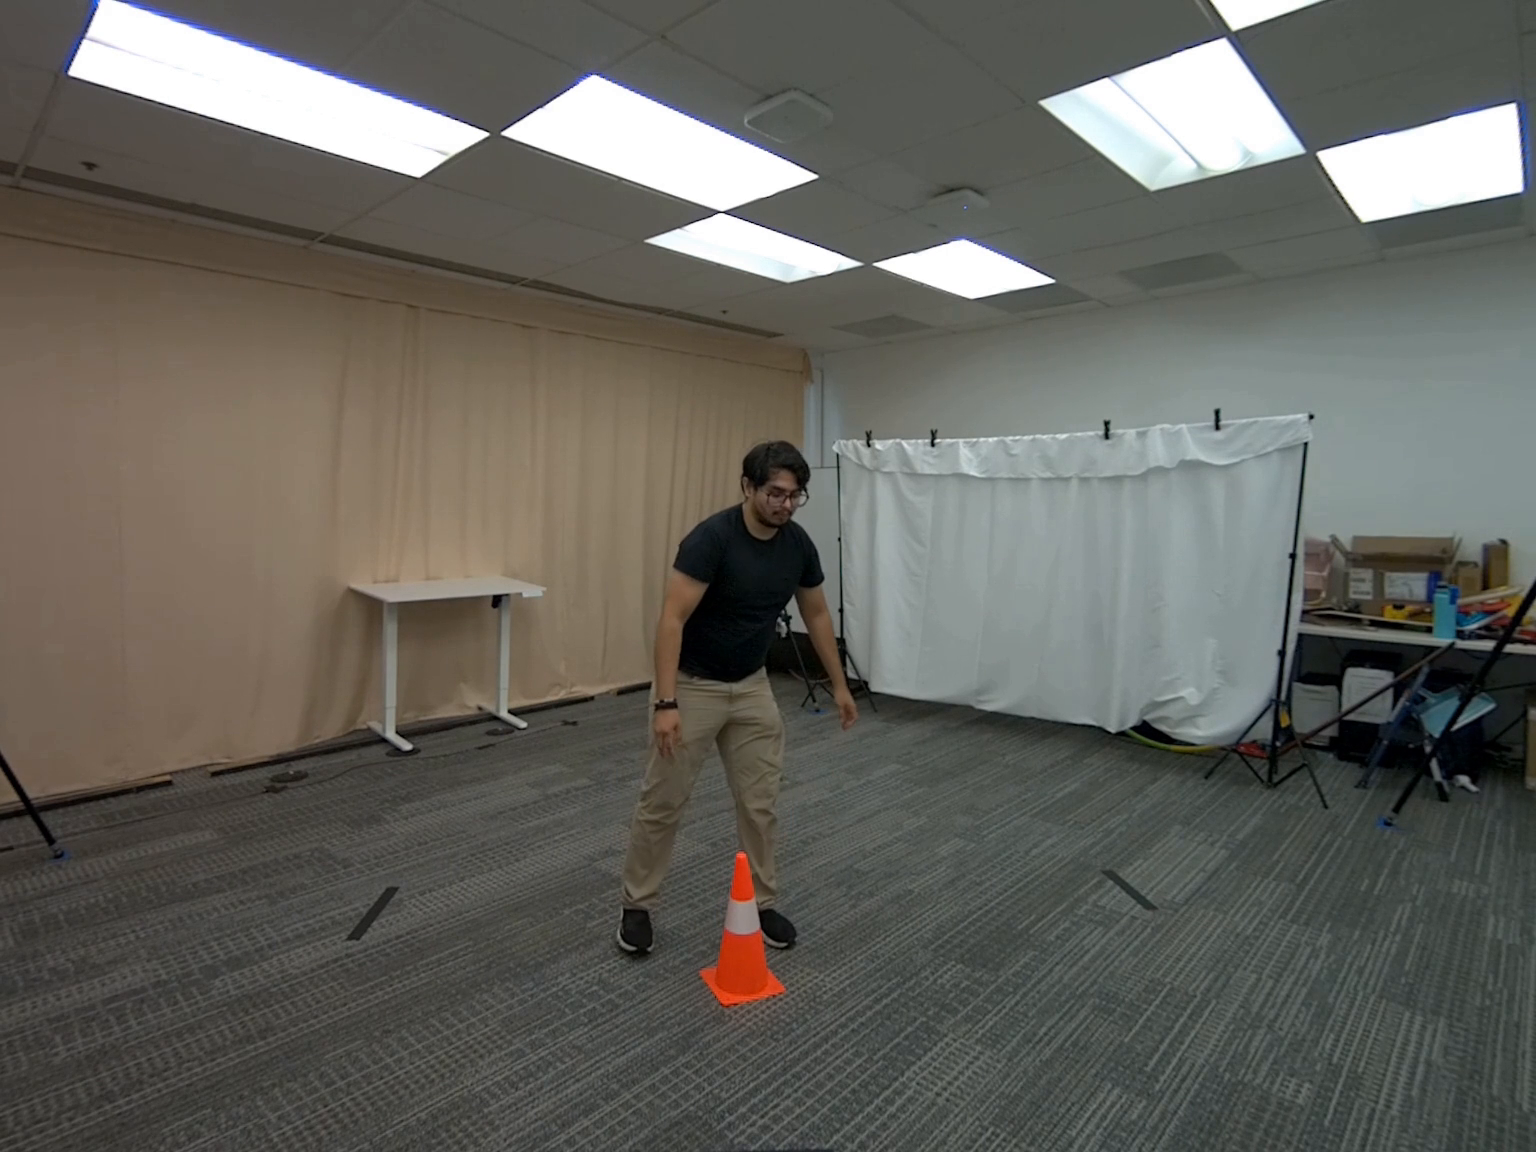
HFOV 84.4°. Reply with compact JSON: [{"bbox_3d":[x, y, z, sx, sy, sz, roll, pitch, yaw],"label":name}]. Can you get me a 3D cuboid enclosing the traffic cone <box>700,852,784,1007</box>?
[{"bbox_3d":[-0.073,1.003,2.450,0.199,0.383,0.210,-2,4,-22],"label":"traffic cone"}]
